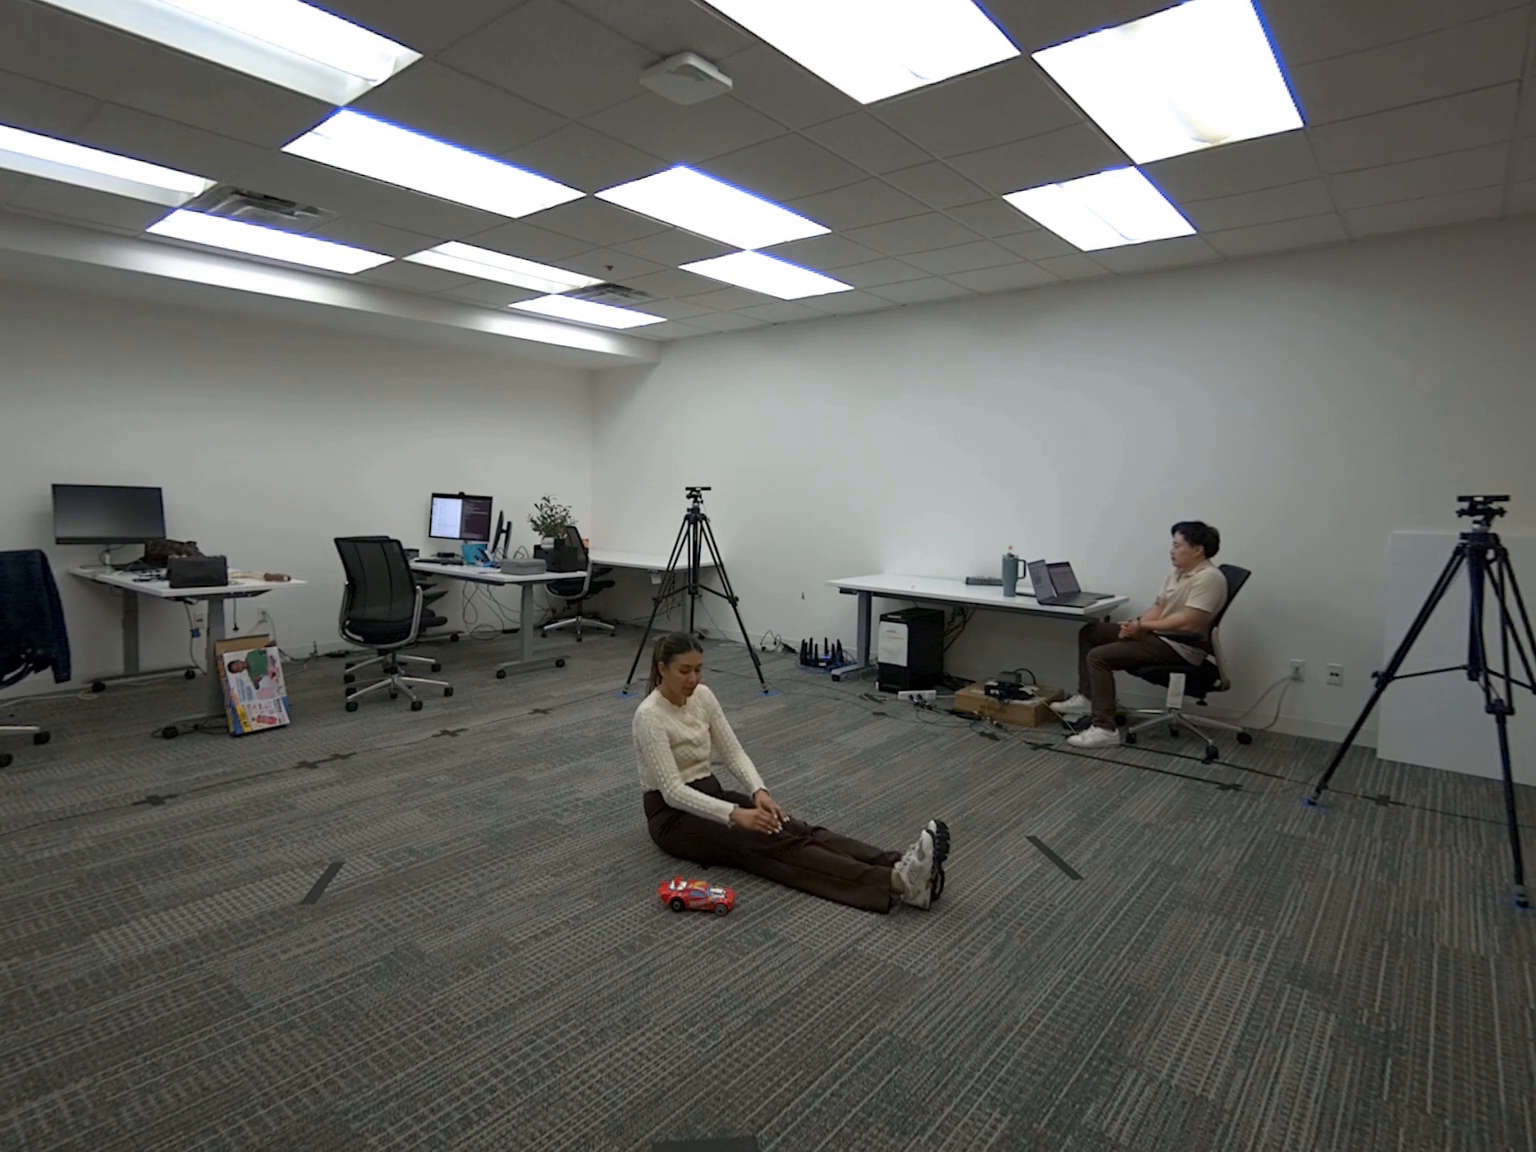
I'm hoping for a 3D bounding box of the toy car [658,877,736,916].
[{"bbox_3d":[-0.258,1.059,2.826,0.257,0.083,0.129,13,6,6],"label":"toy car"}]
